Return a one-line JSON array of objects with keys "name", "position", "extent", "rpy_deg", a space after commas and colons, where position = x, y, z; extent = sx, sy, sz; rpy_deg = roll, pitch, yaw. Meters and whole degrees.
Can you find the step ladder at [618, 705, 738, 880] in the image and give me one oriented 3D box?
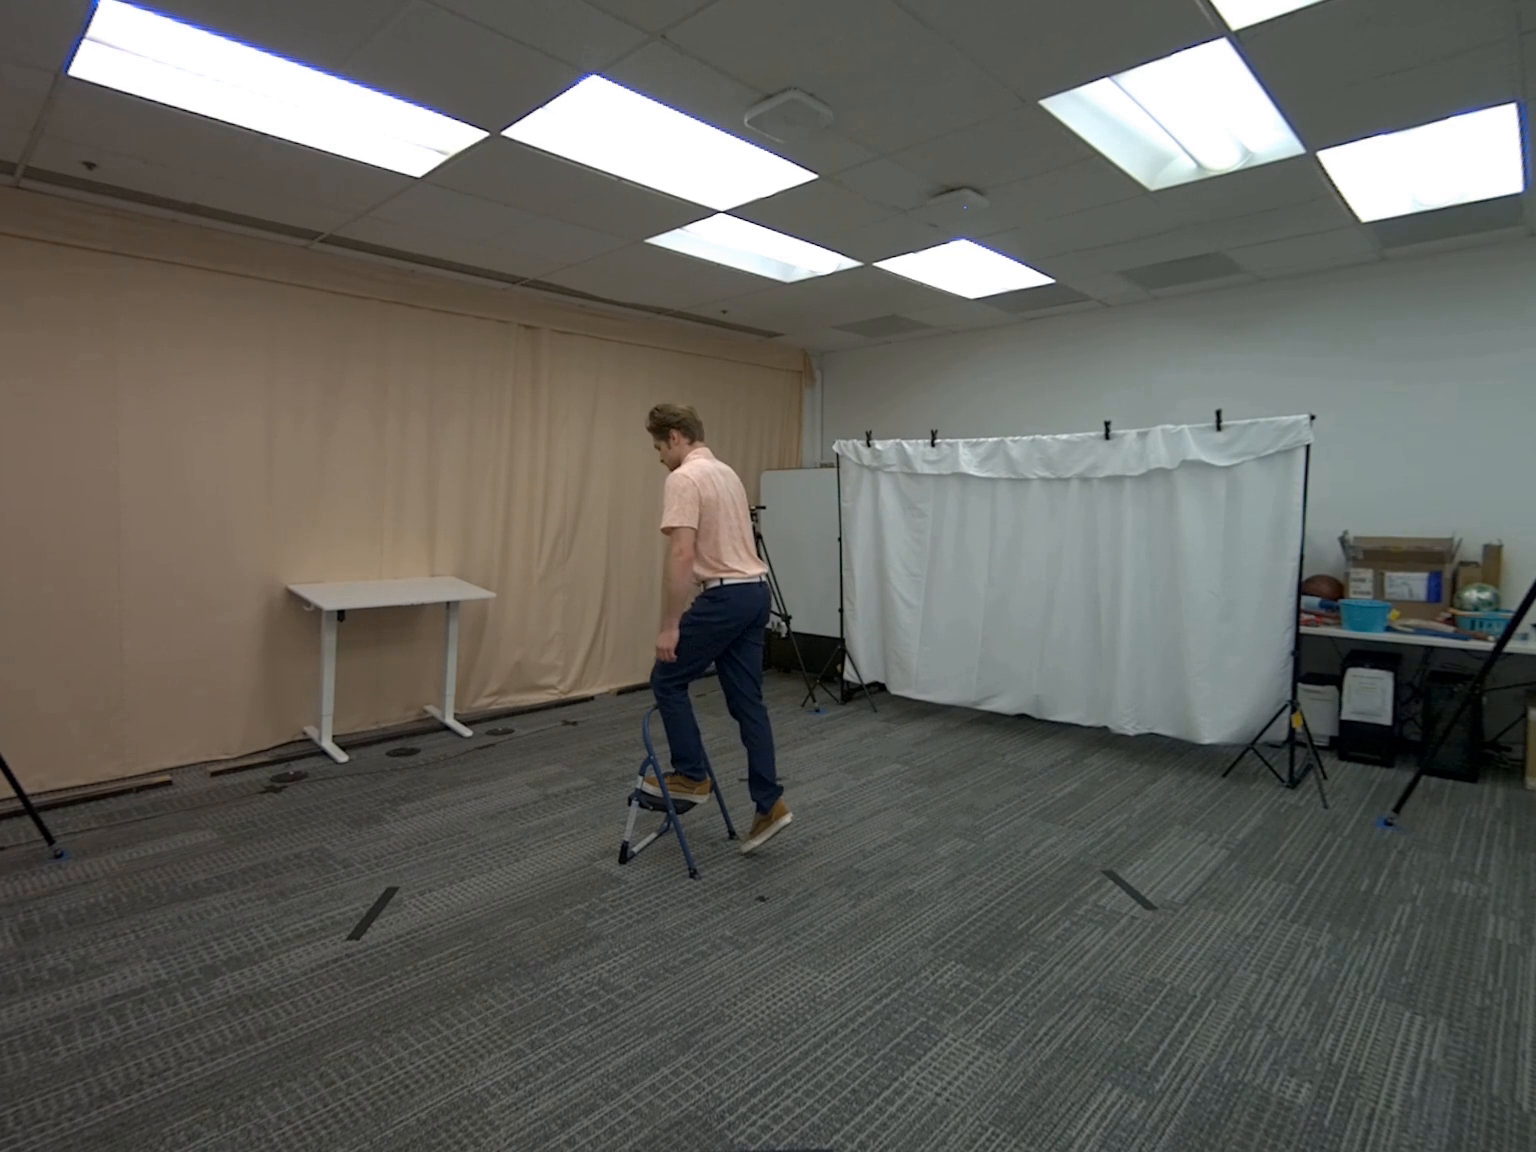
[{"name": "step ladder", "position": [-0.358, 0.810, 3.392], "extent": [0.357, 0.605, 0.422], "rpy_deg": [0, 3, 21]}]
